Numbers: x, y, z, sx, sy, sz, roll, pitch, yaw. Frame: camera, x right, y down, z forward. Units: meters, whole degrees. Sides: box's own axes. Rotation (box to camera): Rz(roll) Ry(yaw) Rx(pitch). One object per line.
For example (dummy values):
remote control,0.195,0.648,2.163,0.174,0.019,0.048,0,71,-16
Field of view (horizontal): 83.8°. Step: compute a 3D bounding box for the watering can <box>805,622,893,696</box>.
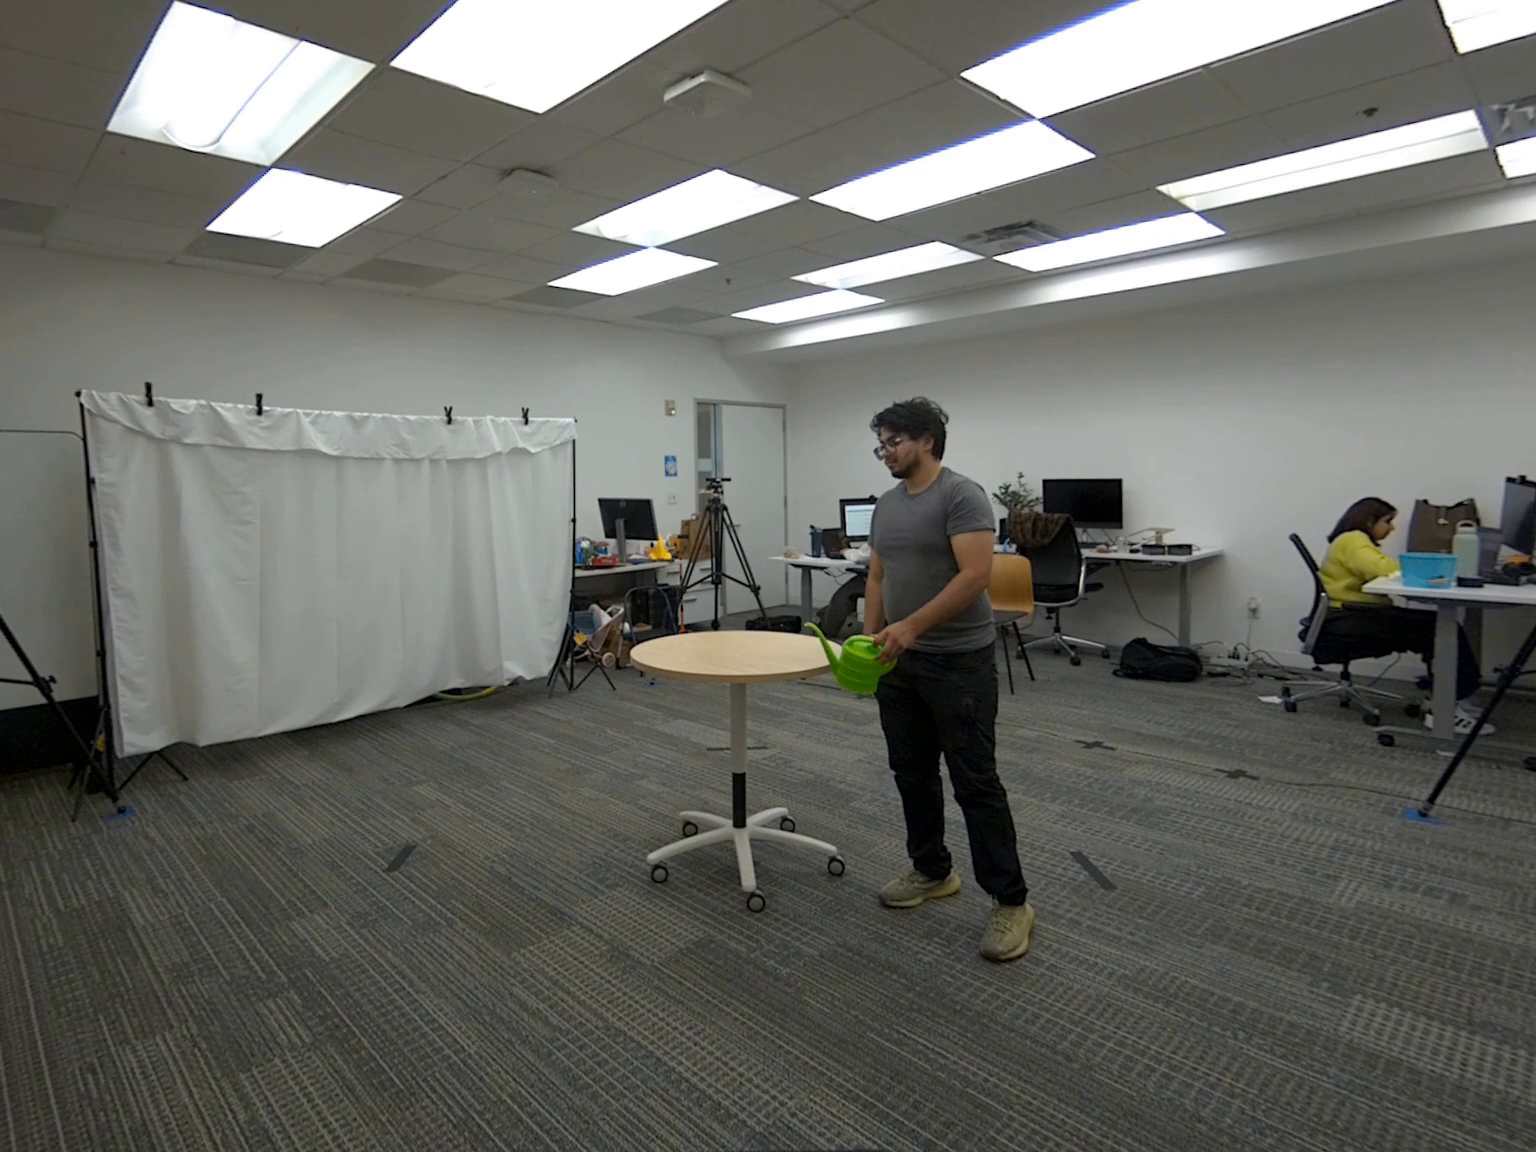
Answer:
watering can,0.247,0.233,2.525,0.283,0.174,0.098,21,31,13
